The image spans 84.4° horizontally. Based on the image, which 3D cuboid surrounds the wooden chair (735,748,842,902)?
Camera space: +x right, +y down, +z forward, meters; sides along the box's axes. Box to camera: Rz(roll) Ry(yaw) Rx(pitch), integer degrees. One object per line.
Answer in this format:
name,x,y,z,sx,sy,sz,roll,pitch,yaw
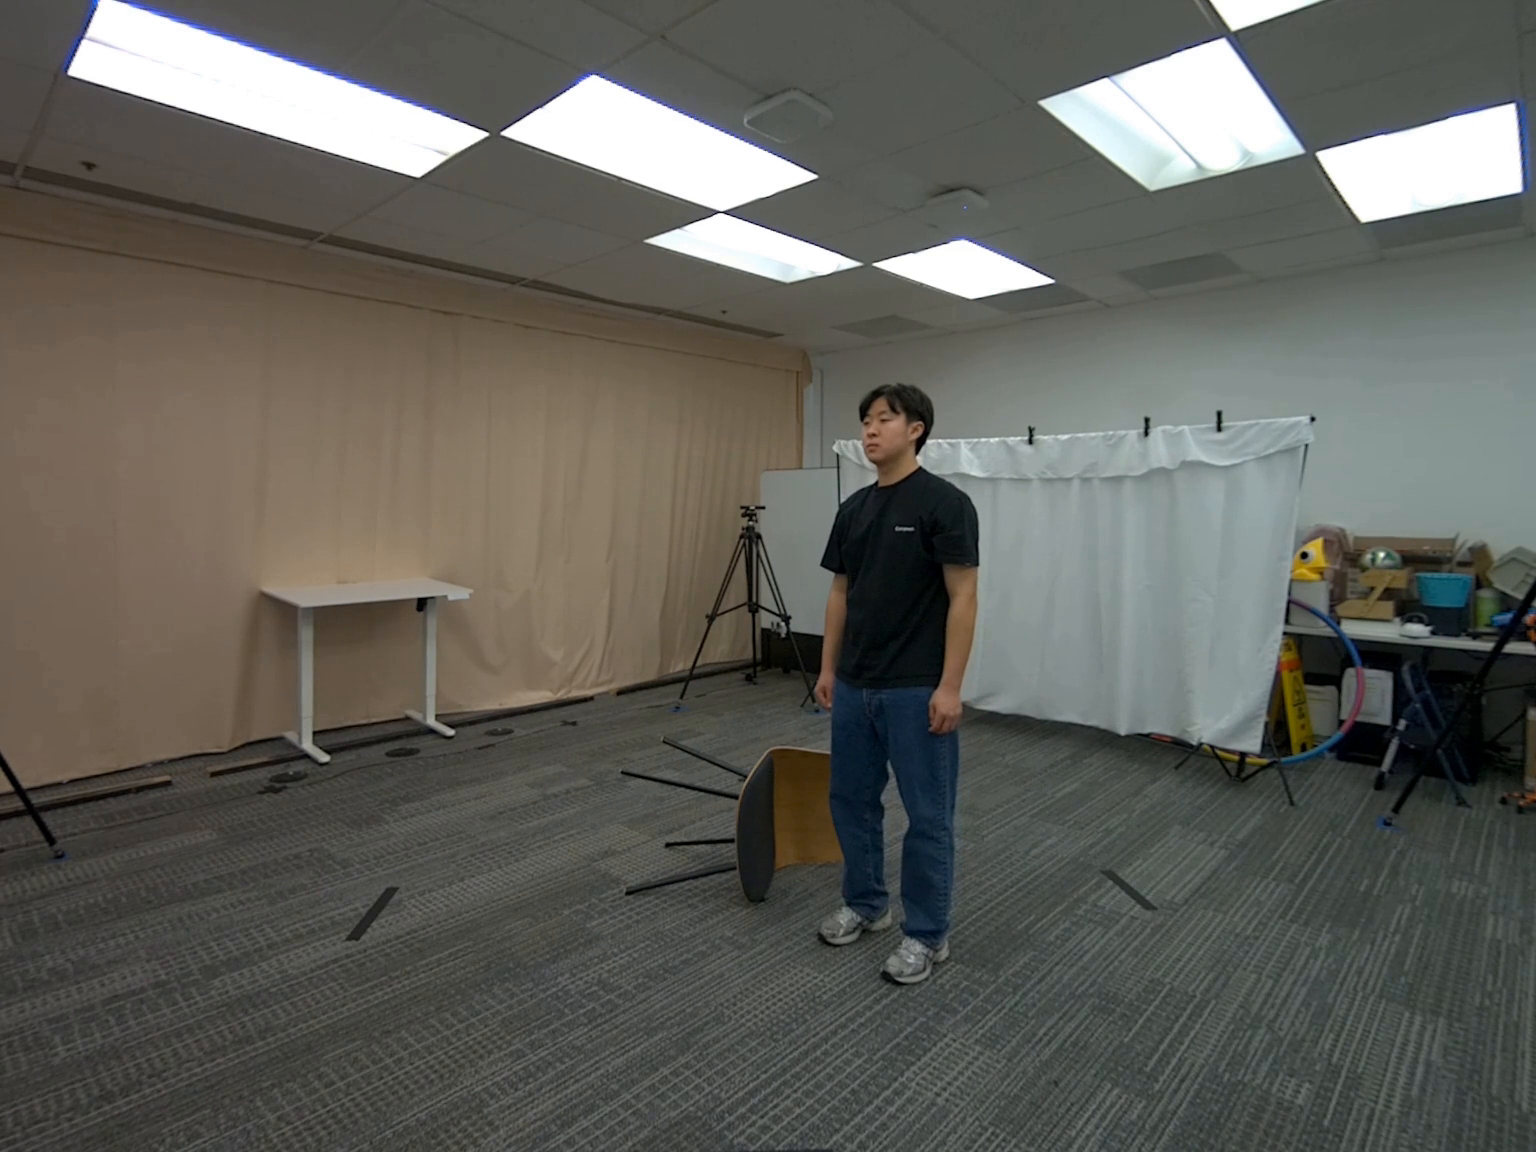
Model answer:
wooden chair,-0.049,0.901,3.110,0.888,0.477,0.517,1,3,11
